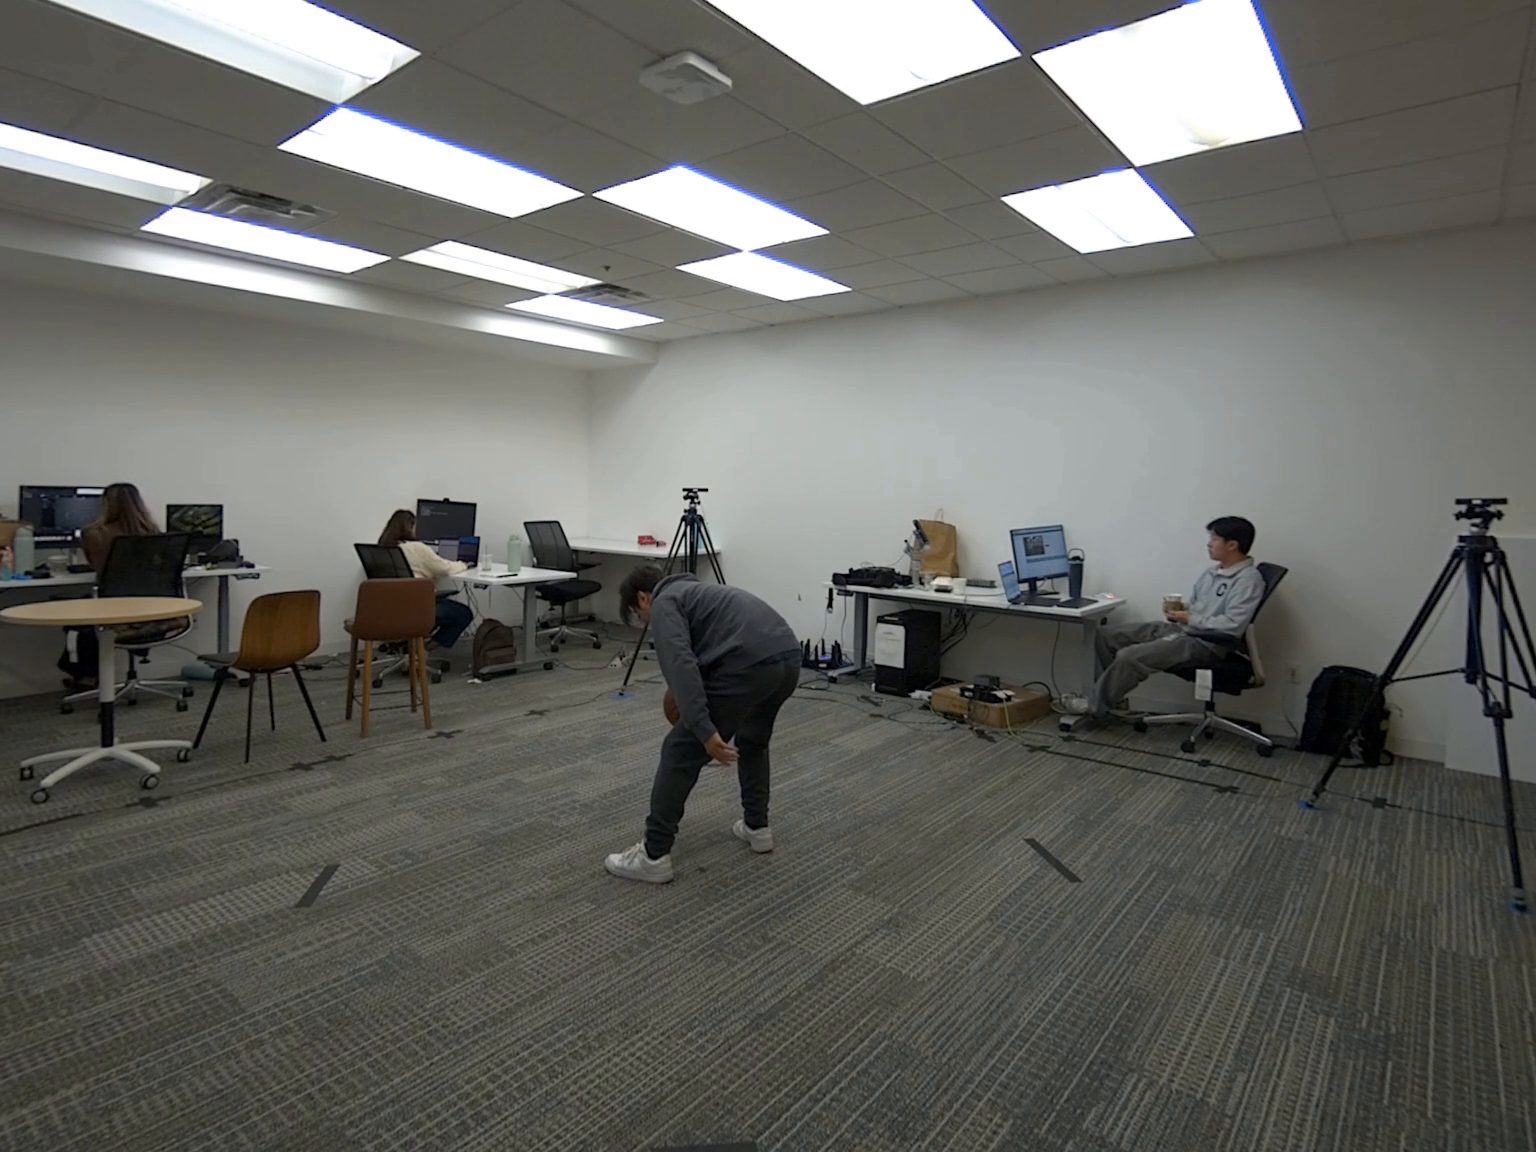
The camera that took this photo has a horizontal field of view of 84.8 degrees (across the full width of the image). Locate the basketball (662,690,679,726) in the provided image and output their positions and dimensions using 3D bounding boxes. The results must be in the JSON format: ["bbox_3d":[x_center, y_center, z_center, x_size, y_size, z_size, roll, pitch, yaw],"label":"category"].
[{"bbox_3d":[-0.325,0.533,3.558,0.235,0.235,0.237,1,4,-2],"label":"basketball"}]
